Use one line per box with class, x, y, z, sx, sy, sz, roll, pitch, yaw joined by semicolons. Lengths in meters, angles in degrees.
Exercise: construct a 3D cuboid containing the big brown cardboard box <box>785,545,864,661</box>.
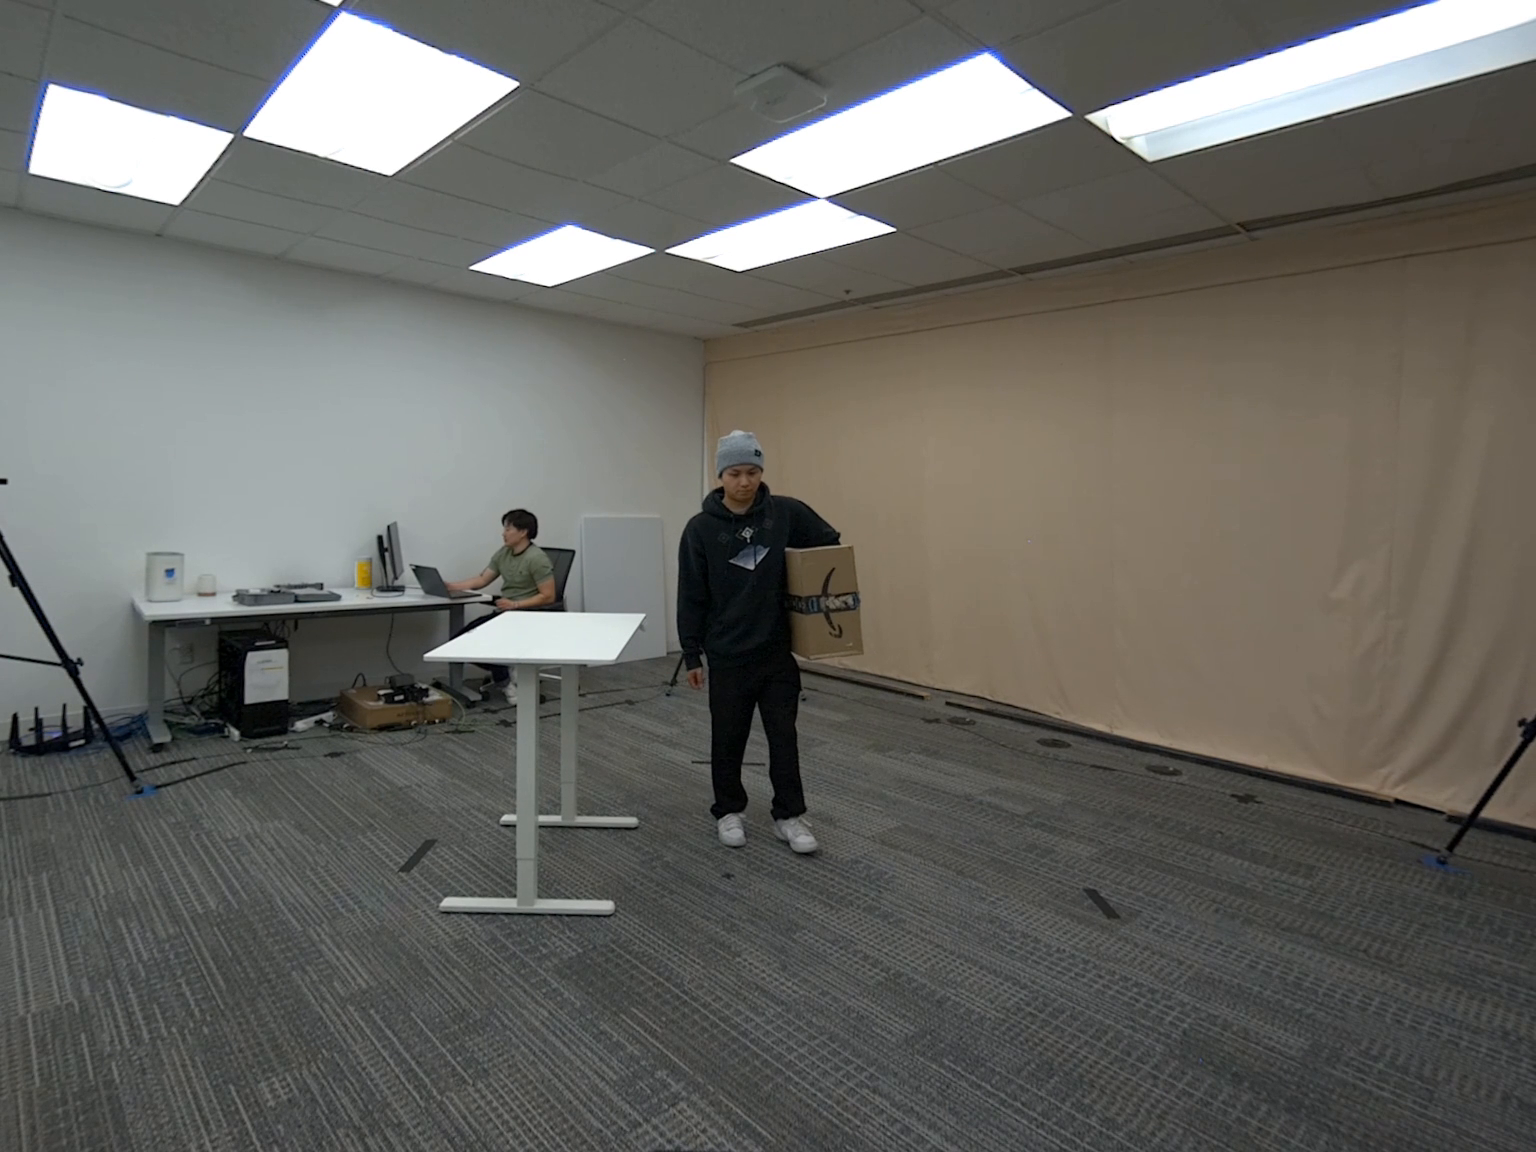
big brown cardboard box;0.186;0.095;3.437;0.232;0.417;0.593;-5;2;-9
